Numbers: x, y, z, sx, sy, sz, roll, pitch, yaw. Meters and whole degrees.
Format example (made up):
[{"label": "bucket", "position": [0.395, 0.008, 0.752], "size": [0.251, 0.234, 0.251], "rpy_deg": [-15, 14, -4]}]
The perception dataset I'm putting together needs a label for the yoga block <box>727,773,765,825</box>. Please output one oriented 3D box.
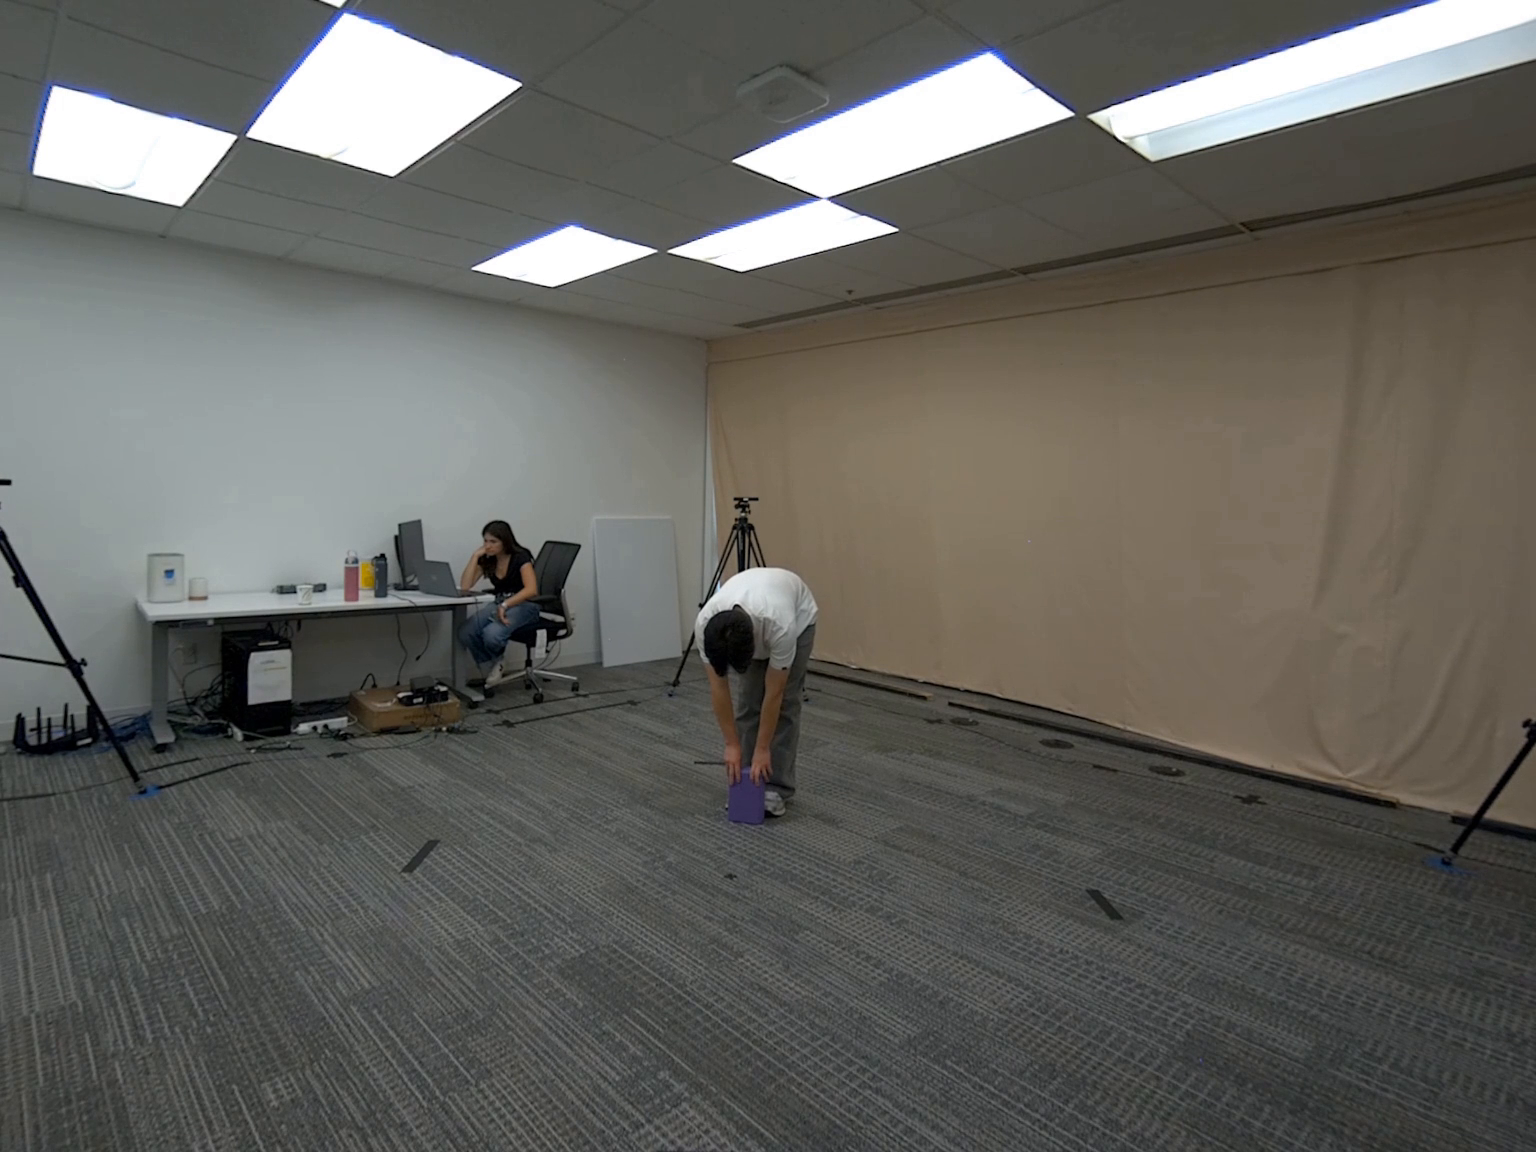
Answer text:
[{"label": "yoga block", "position": [-0.114, 0.960, 3.644], "size": [0.150, 0.229, 0.076], "rpy_deg": [1, 3, 11]}]
